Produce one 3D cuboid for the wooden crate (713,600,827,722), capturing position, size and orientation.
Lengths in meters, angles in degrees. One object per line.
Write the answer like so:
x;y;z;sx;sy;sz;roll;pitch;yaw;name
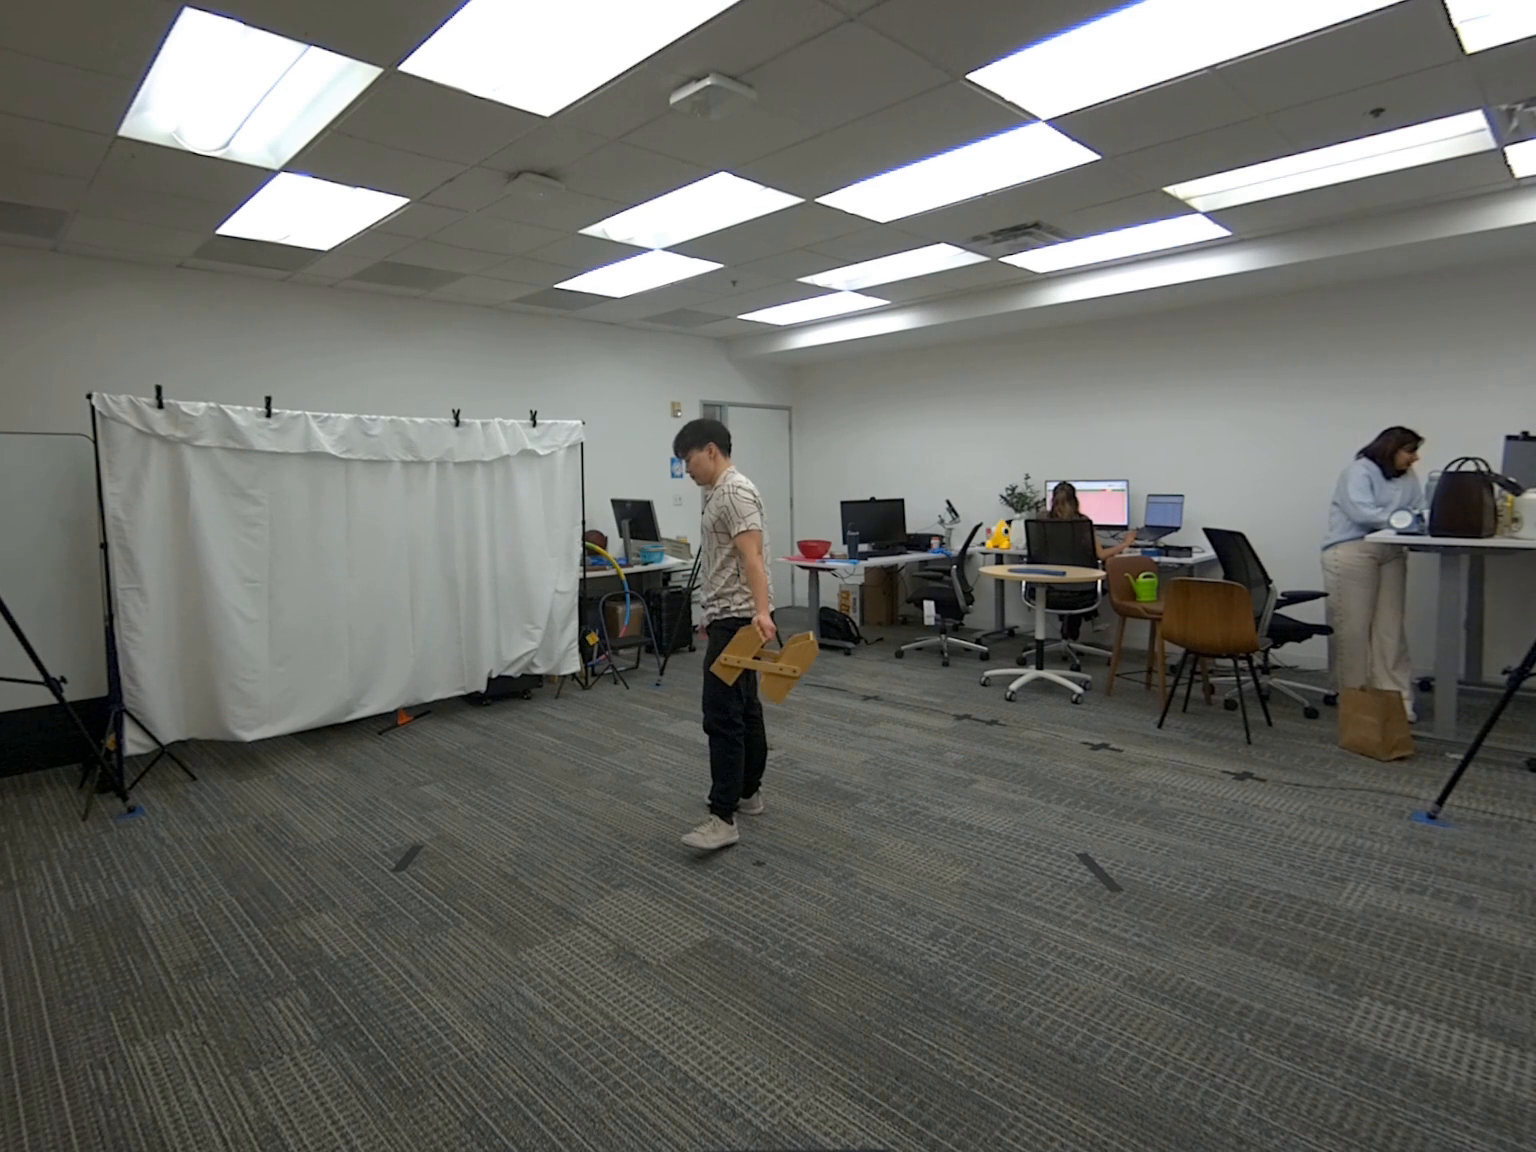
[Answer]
-0.001;0.280;3.061;0.275;0.302;0.323;38;2;2;wooden crate
